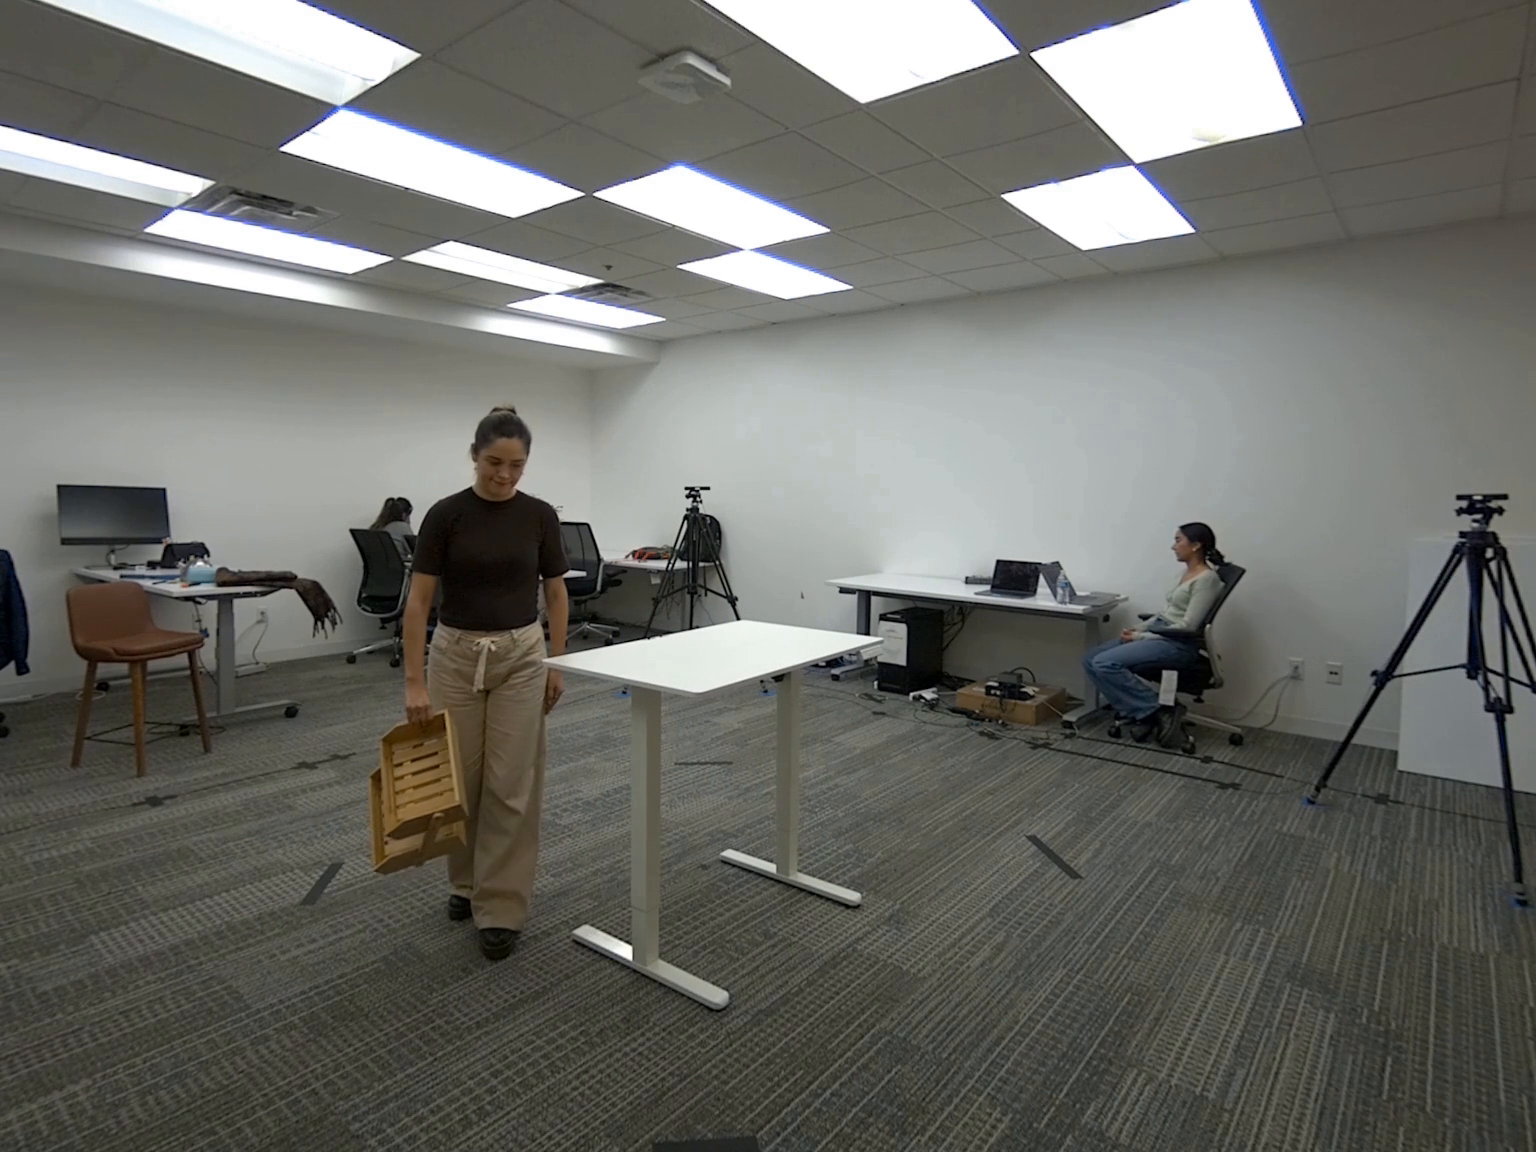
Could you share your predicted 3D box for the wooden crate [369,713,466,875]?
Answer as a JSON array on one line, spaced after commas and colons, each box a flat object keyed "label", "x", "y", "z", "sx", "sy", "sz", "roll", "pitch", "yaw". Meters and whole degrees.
[{"label": "wooden crate", "x": -1.017, "y": 0.608, "z": 2.408, "sx": 0.299, "sy": 0.336, "sz": 0.266, "roll": -11, "pitch": -38, "yaw": -10}]
